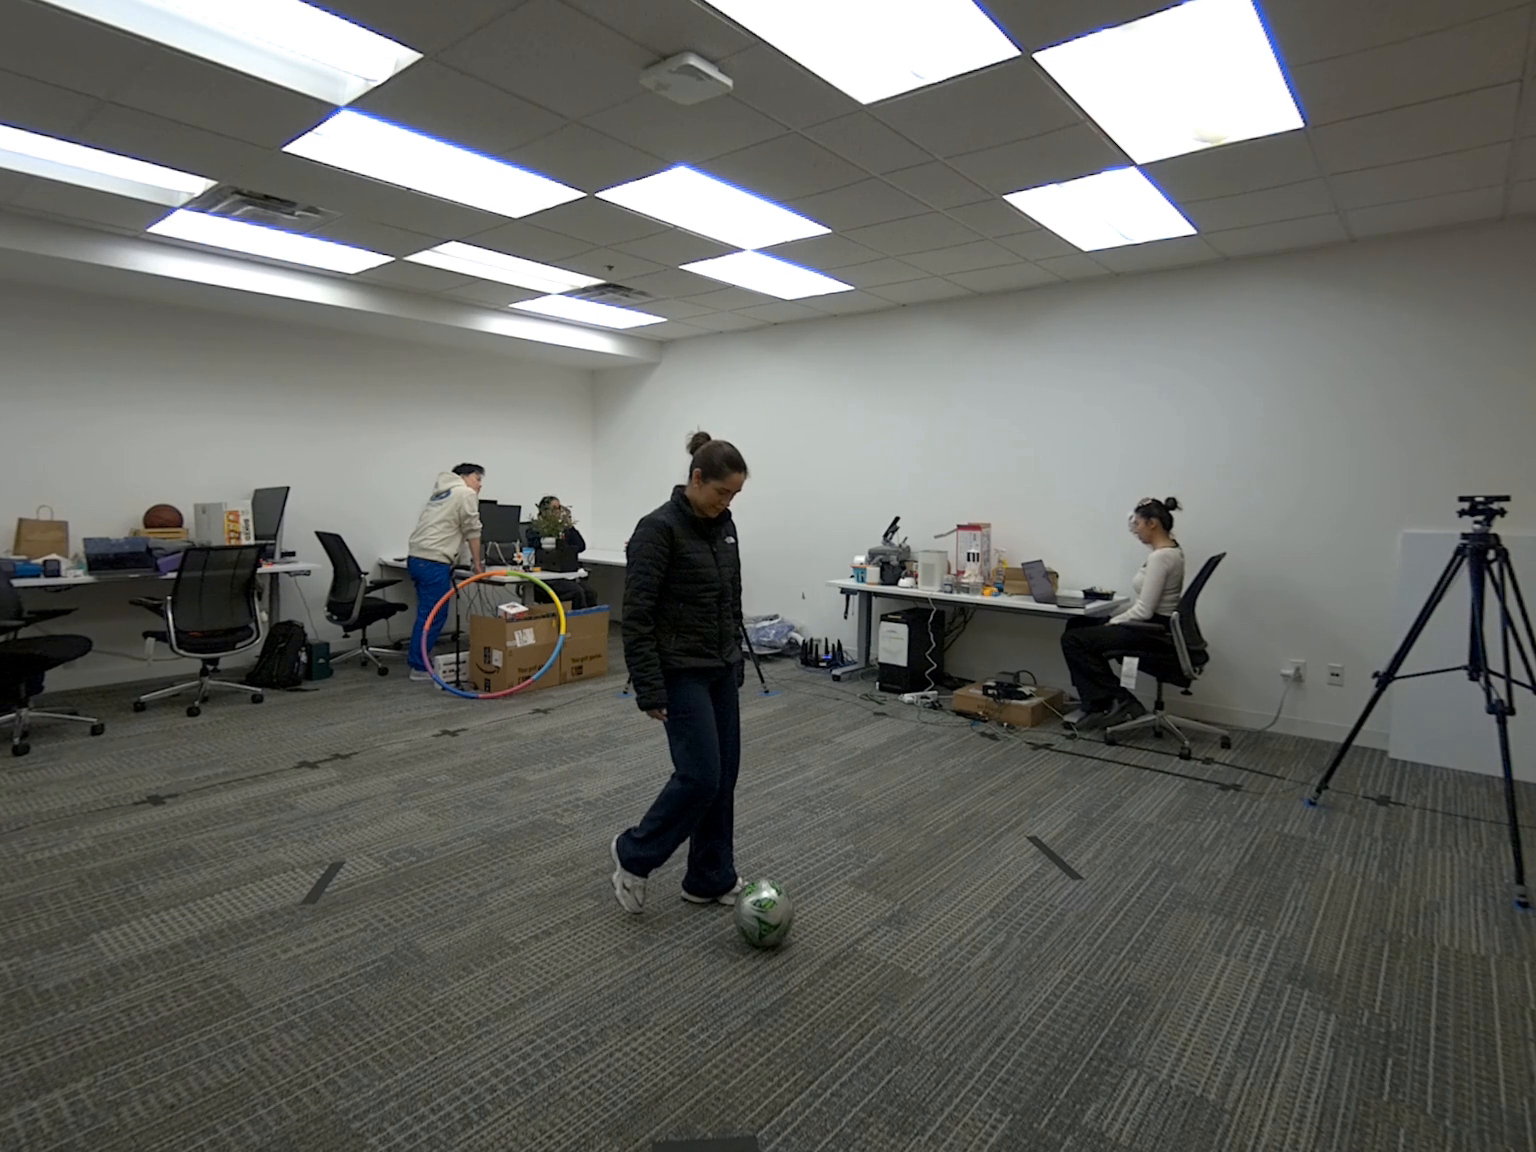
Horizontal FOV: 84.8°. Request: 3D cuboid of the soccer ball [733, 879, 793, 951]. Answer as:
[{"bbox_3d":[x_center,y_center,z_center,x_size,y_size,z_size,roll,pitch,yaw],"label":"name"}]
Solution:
[{"bbox_3d":[-0.022,1.031,2.598,0.187,0.187,0.188,1,4,-2],"label":"soccer ball"}]
